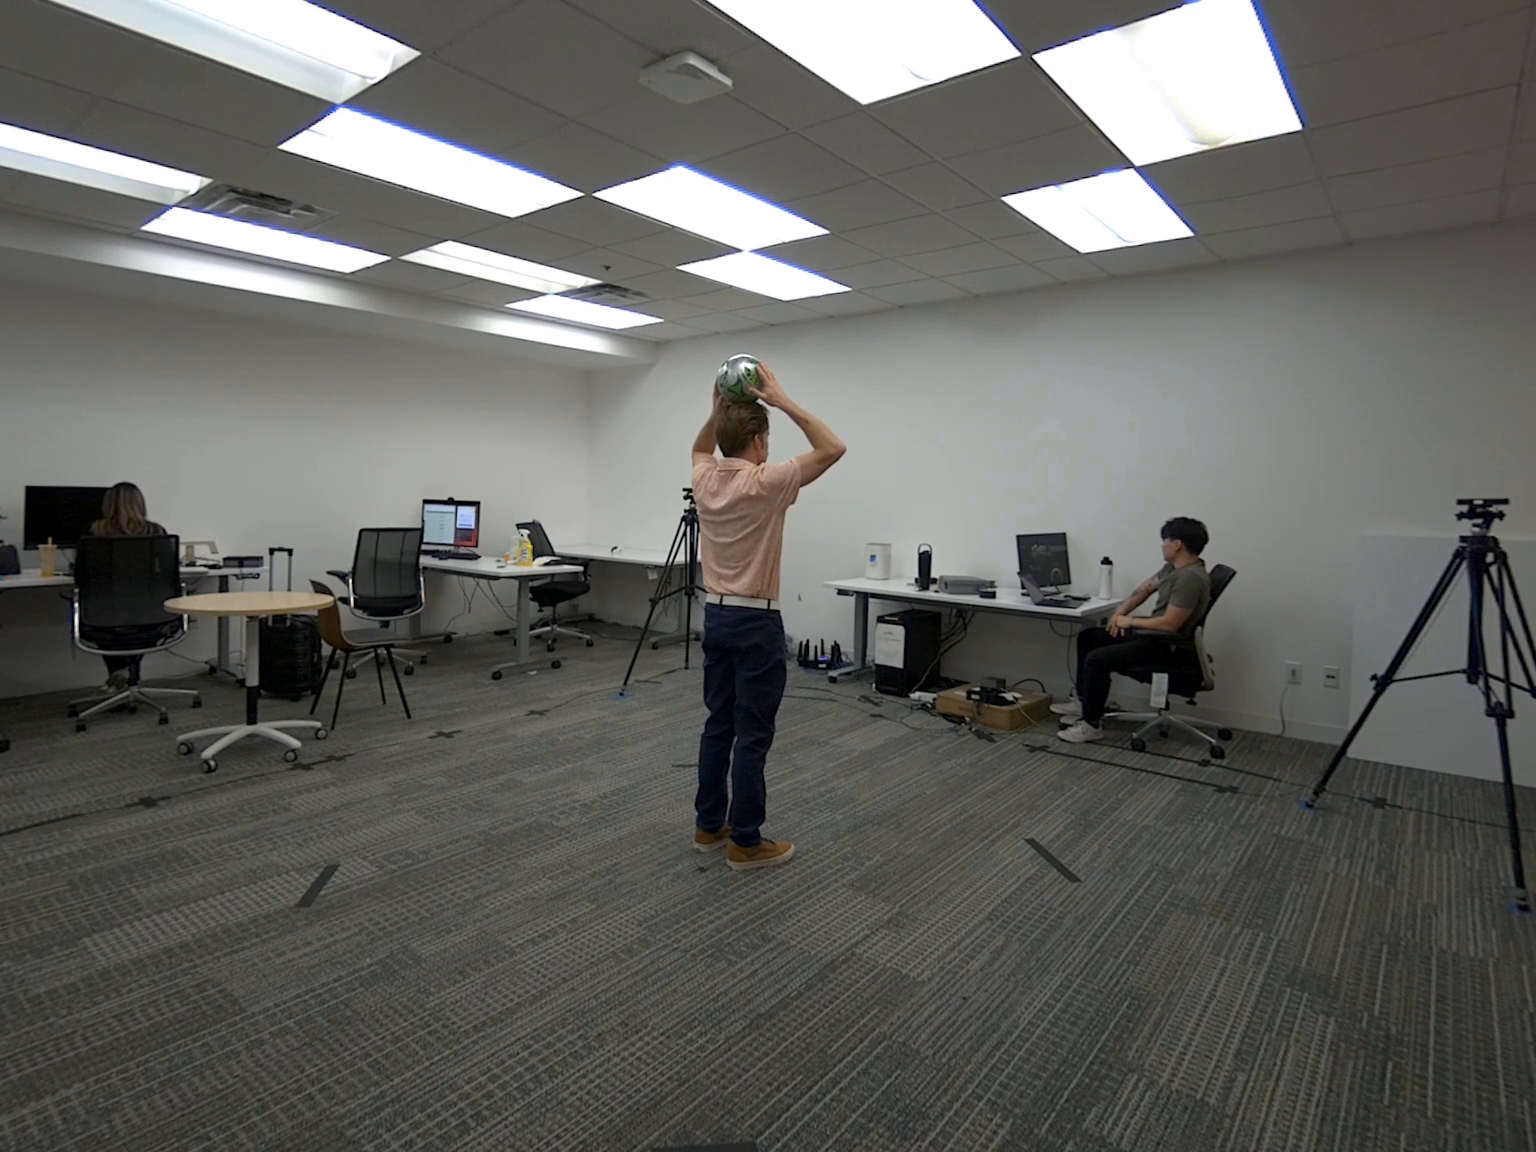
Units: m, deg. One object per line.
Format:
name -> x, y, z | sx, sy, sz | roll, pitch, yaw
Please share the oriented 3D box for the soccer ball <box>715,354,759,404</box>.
soccer ball -> -0.112, -0.725, 3.179 | 0.187, 0.187, 0.188 | 1, 4, -2
